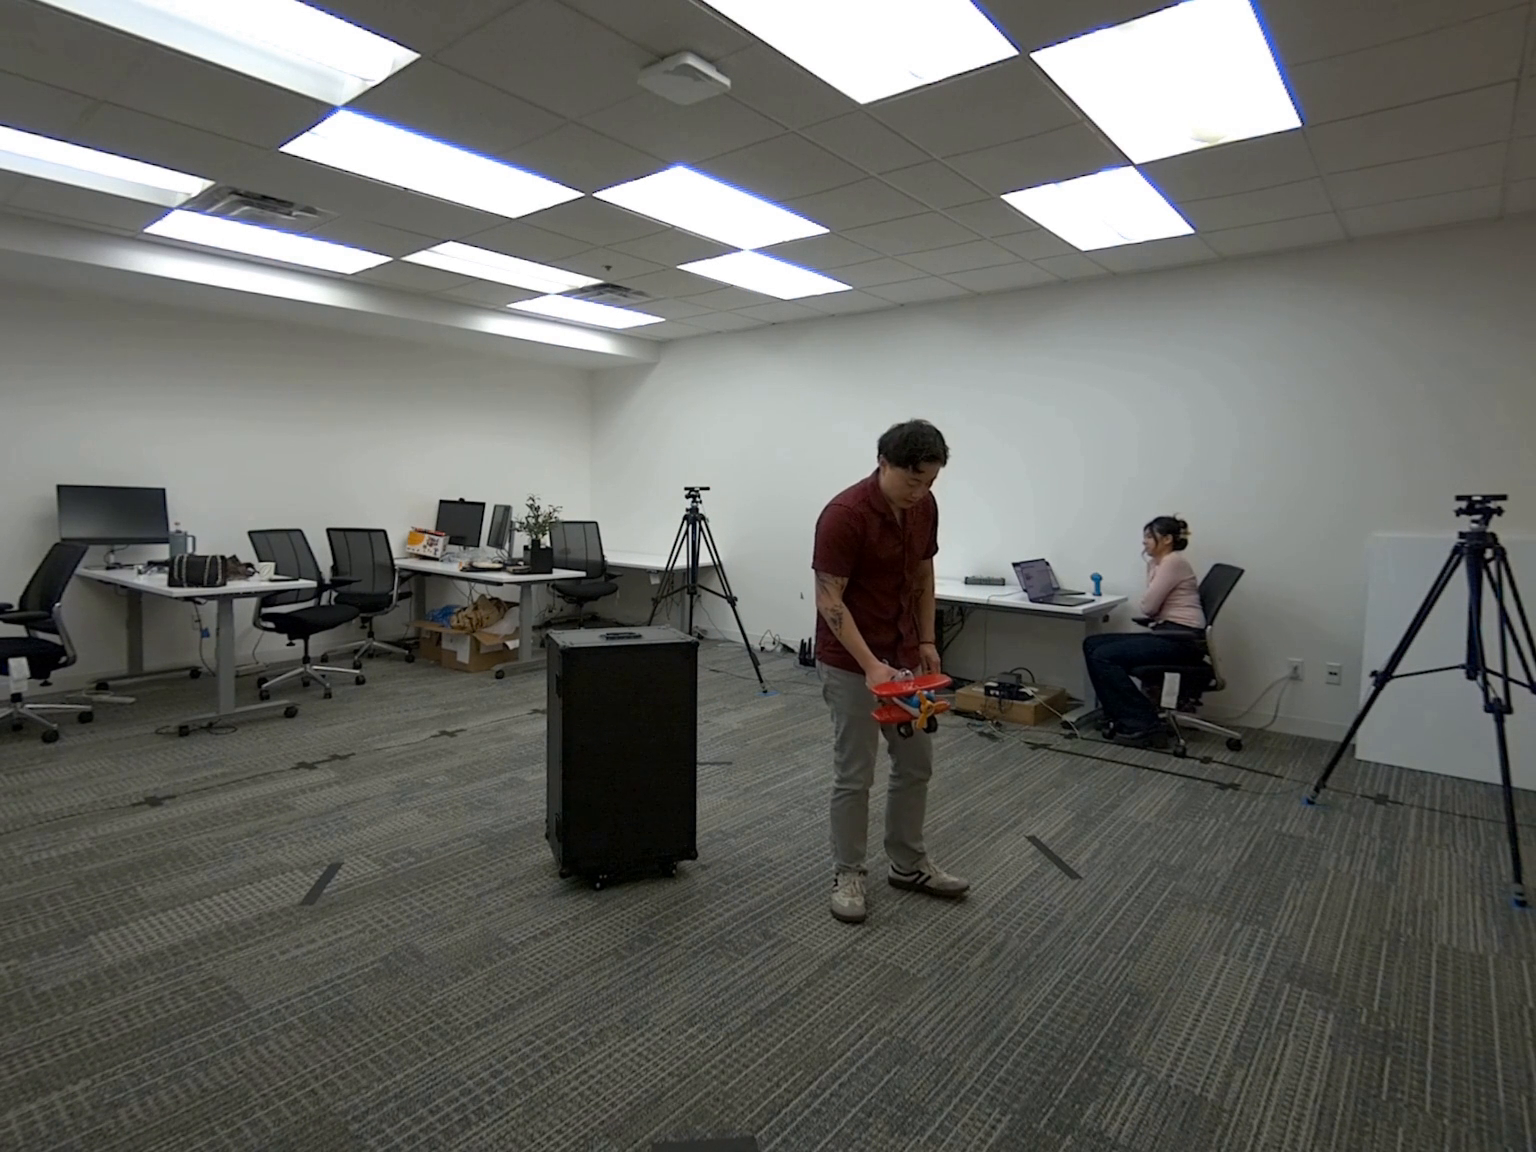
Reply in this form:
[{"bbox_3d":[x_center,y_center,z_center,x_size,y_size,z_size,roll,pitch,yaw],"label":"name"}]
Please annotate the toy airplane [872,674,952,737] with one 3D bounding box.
[{"bbox_3d":[0.395,0.370,2.558,0.269,0.153,0.247,23,34,35],"label":"toy airplane"}]
